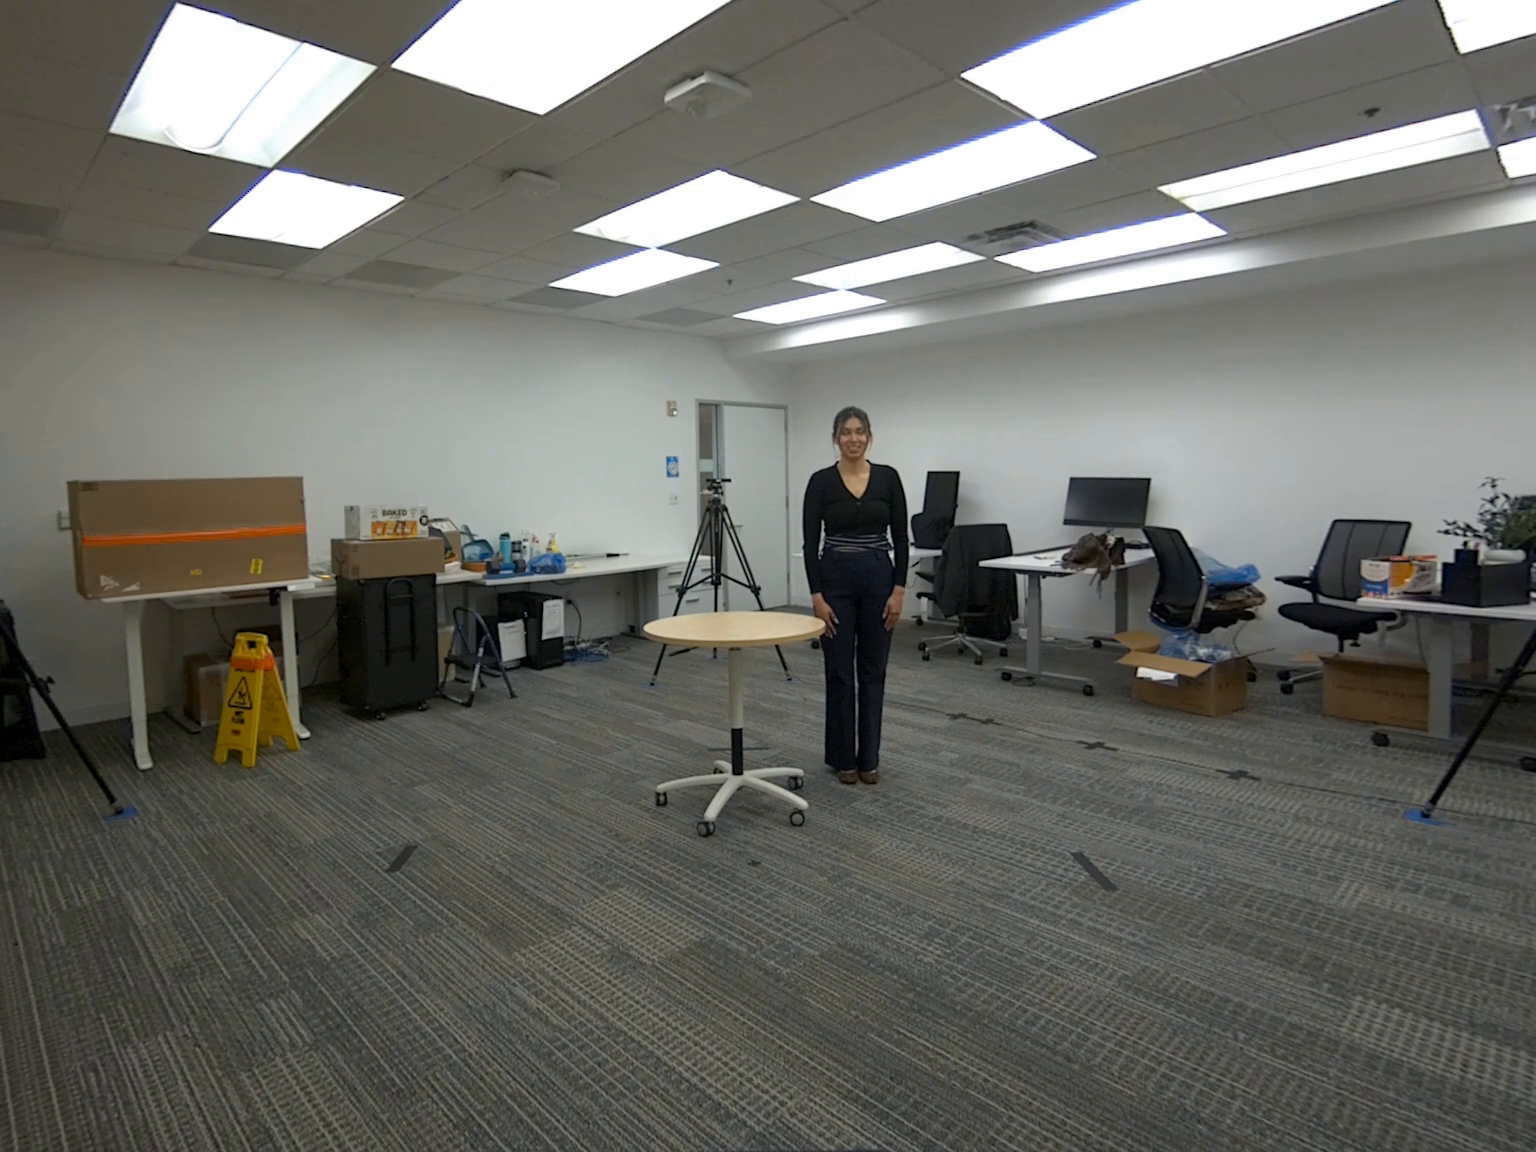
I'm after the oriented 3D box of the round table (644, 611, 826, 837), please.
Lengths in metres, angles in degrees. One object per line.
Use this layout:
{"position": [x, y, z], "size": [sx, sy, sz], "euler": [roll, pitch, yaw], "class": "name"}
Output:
{"position": [-0.130, 0.597, 3.631], "size": [0.763, 0.791, 0.767], "euler": [-1, 4, -2], "class": "round table"}
